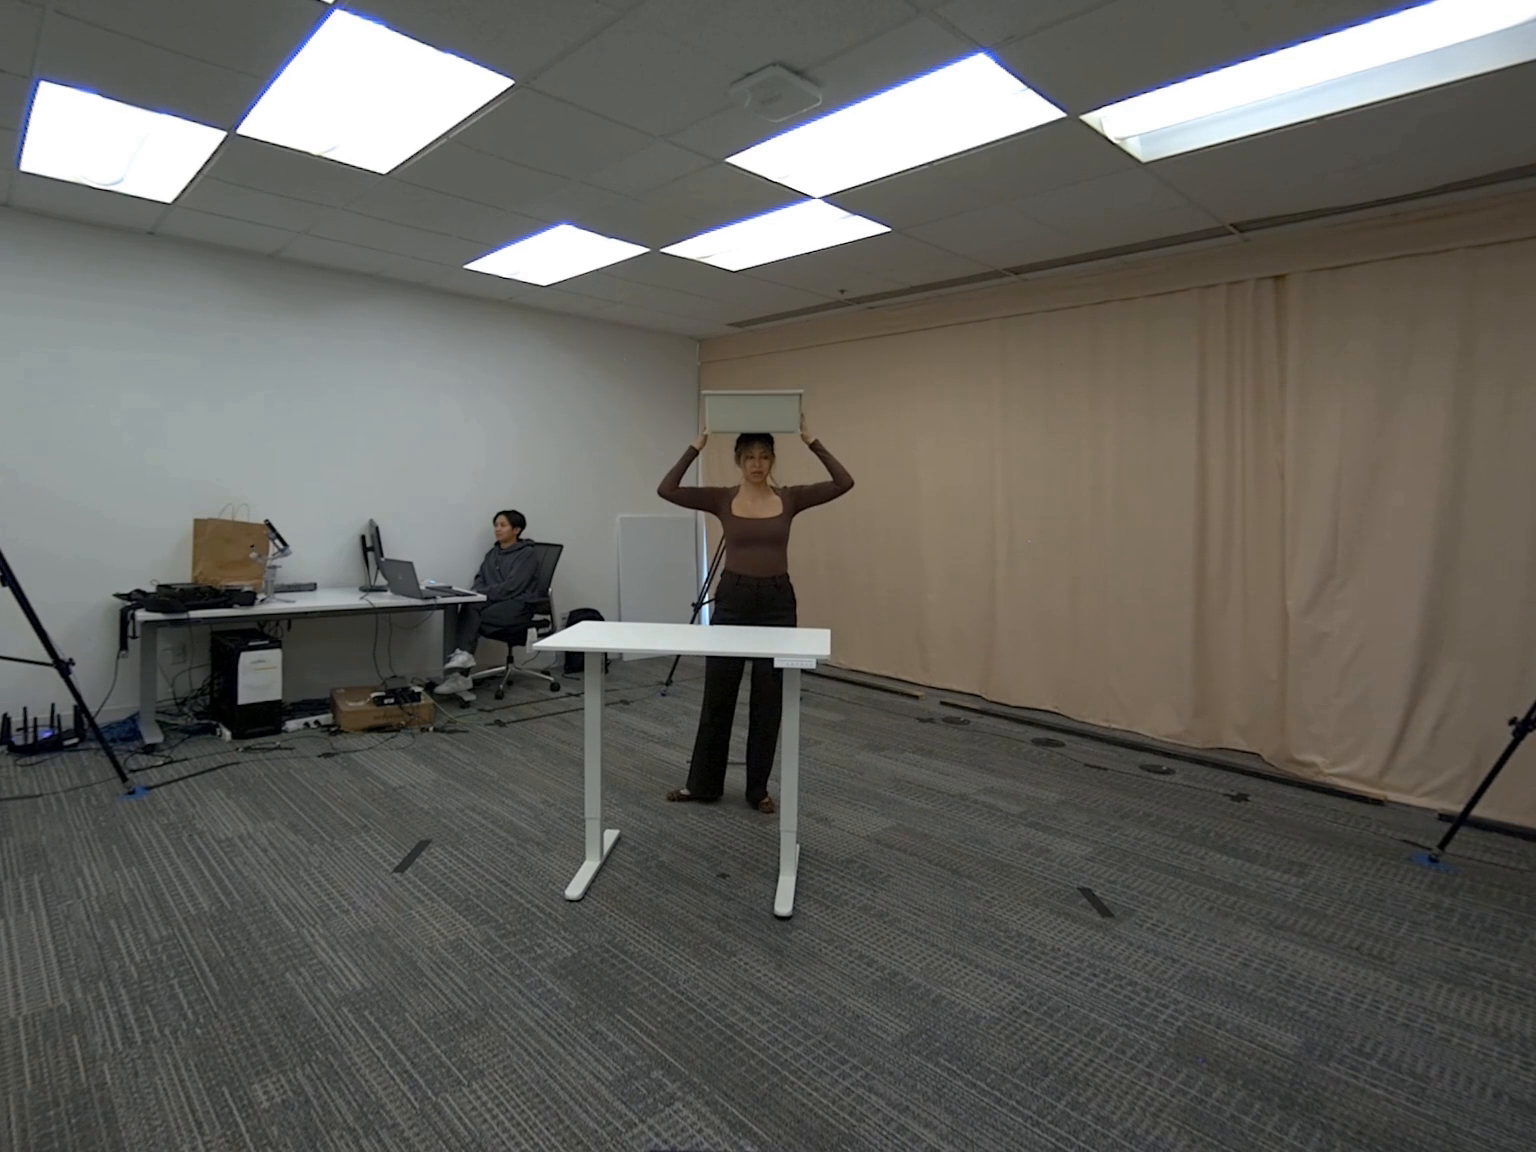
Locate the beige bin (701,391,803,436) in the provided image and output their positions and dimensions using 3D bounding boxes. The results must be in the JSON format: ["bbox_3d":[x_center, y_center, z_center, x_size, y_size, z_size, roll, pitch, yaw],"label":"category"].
[{"bbox_3d":[-0.080,-0.724,3.688,0.423,0.187,0.381,-1,14,0],"label":"beige bin"}]
